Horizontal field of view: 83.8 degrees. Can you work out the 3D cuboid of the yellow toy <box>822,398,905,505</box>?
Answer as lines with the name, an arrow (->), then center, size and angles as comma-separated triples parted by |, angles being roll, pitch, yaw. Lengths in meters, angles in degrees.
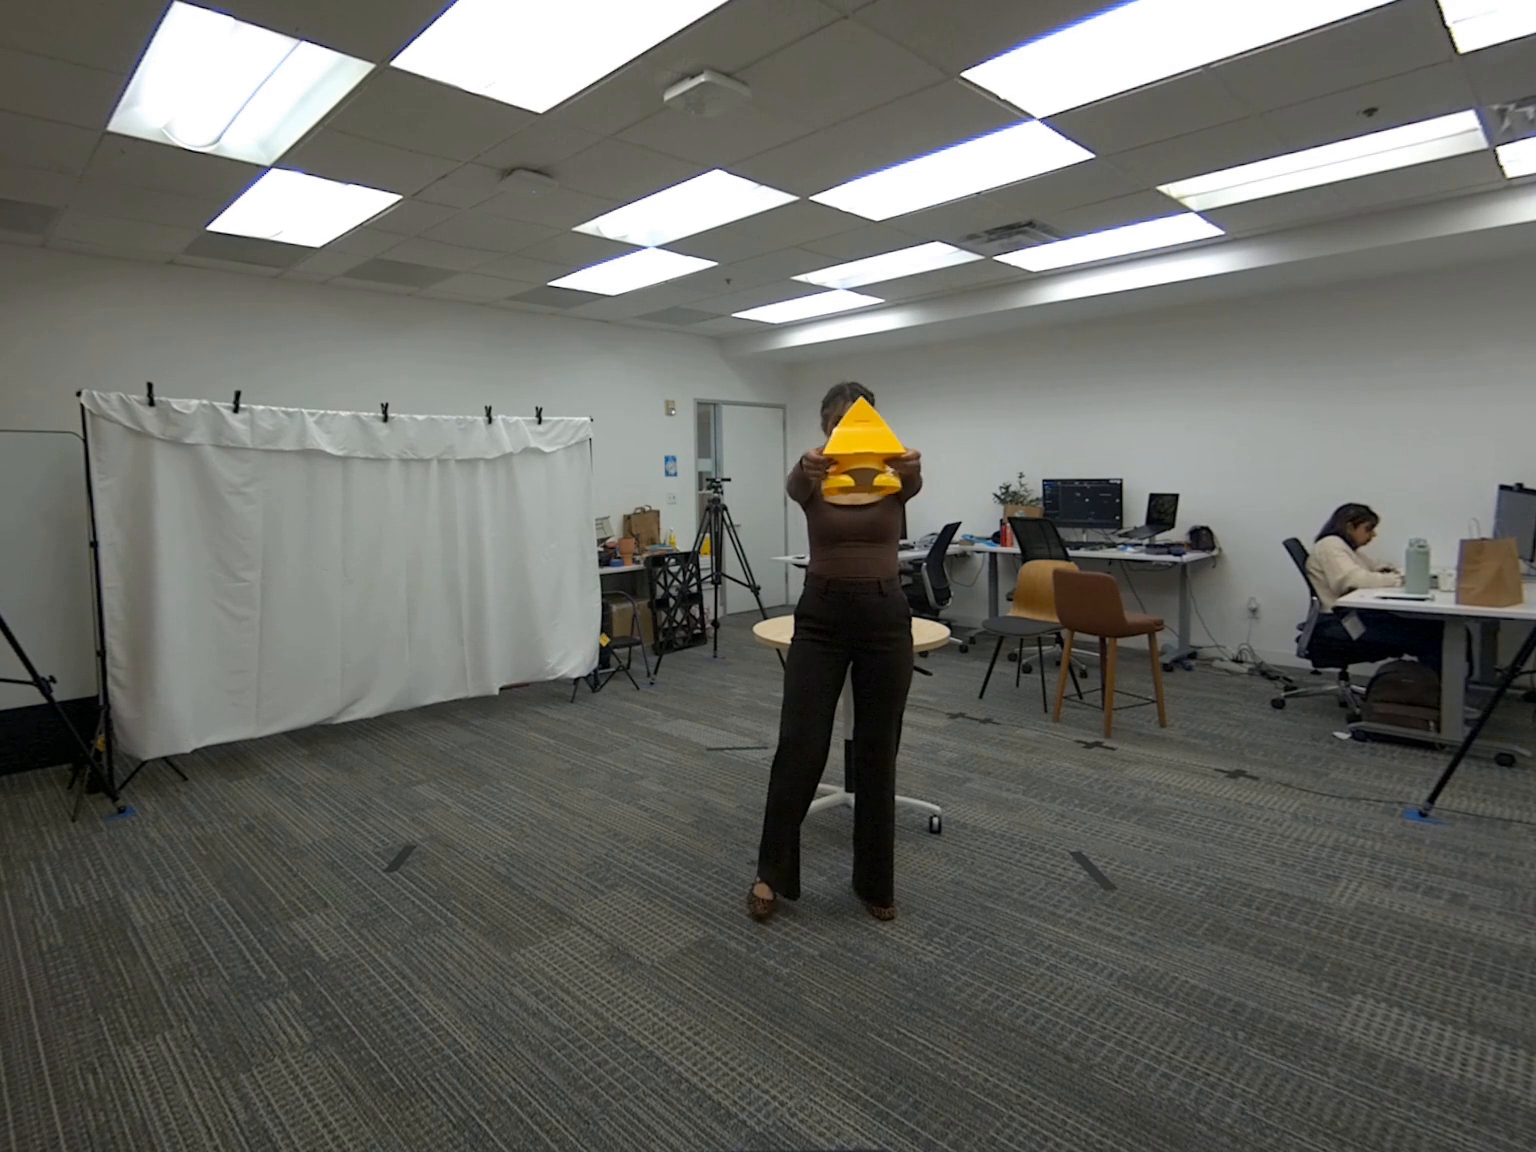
yellow toy -> 0.239, -0.336, 2.207 | 0.205, 0.232, 0.191 | -1, -5, 2
